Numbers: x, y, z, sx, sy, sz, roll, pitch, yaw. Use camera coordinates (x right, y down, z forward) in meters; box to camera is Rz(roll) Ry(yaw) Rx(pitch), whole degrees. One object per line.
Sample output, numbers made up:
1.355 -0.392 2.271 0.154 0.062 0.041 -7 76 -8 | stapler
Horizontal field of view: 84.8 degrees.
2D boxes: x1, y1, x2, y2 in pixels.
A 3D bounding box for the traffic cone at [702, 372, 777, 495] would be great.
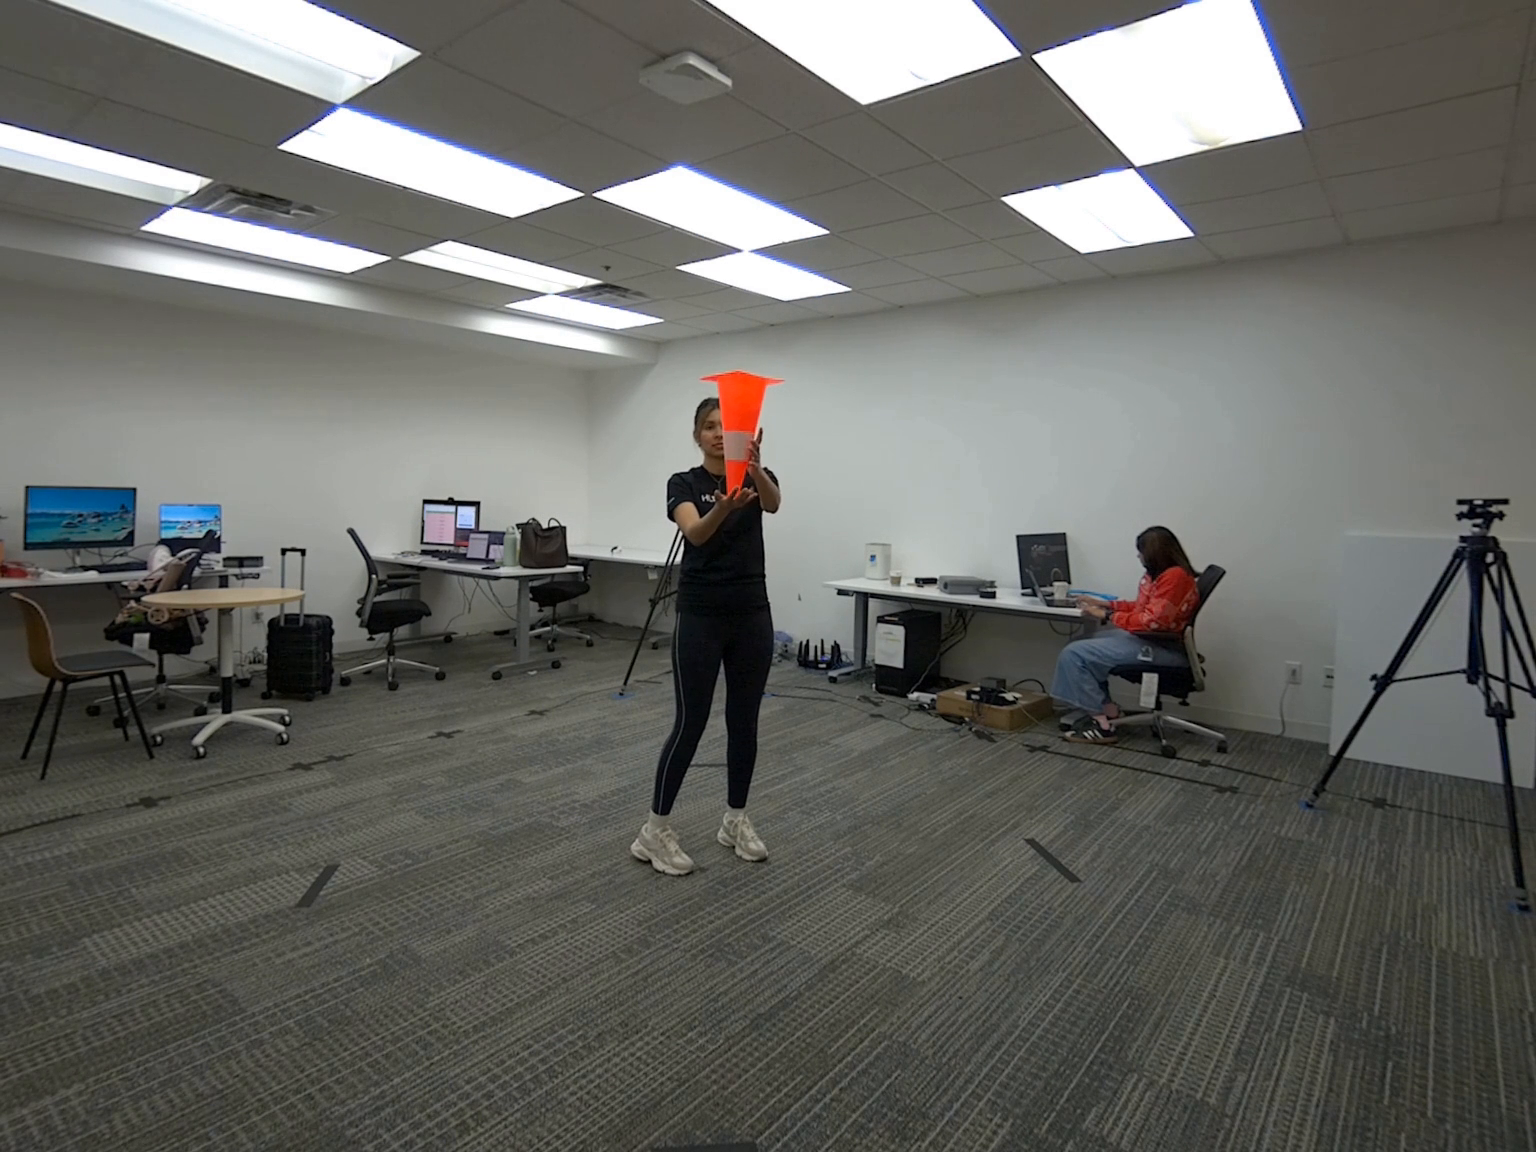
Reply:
-0.097 -0.429 2.671 0.197 0.383 0.211 2 1 -37 | traffic cone
